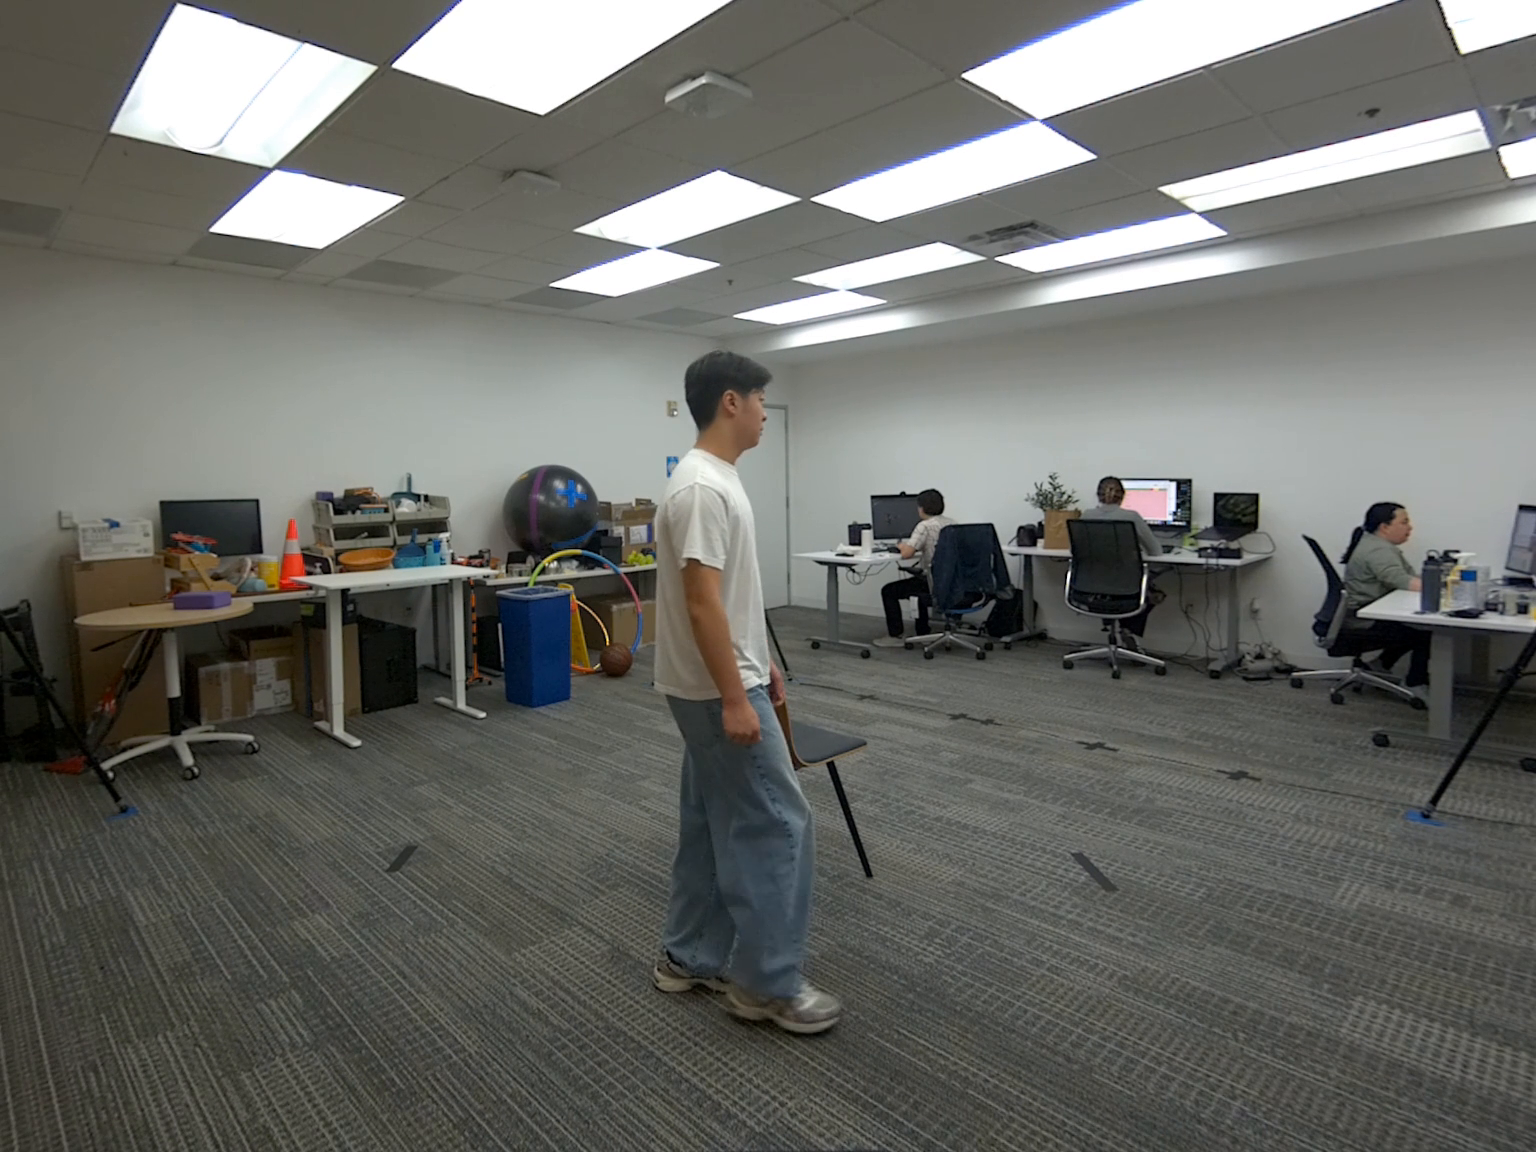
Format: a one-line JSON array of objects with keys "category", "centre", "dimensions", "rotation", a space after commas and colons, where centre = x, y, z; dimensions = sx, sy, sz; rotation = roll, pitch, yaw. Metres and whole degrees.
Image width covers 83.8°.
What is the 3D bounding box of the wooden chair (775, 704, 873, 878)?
[{"category": "wooden chair", "centre": [0.050, 0.634, 2.973], "dimensions": [0.511, 0.871, 0.493], "rotation": [-10, 10, -42]}]
